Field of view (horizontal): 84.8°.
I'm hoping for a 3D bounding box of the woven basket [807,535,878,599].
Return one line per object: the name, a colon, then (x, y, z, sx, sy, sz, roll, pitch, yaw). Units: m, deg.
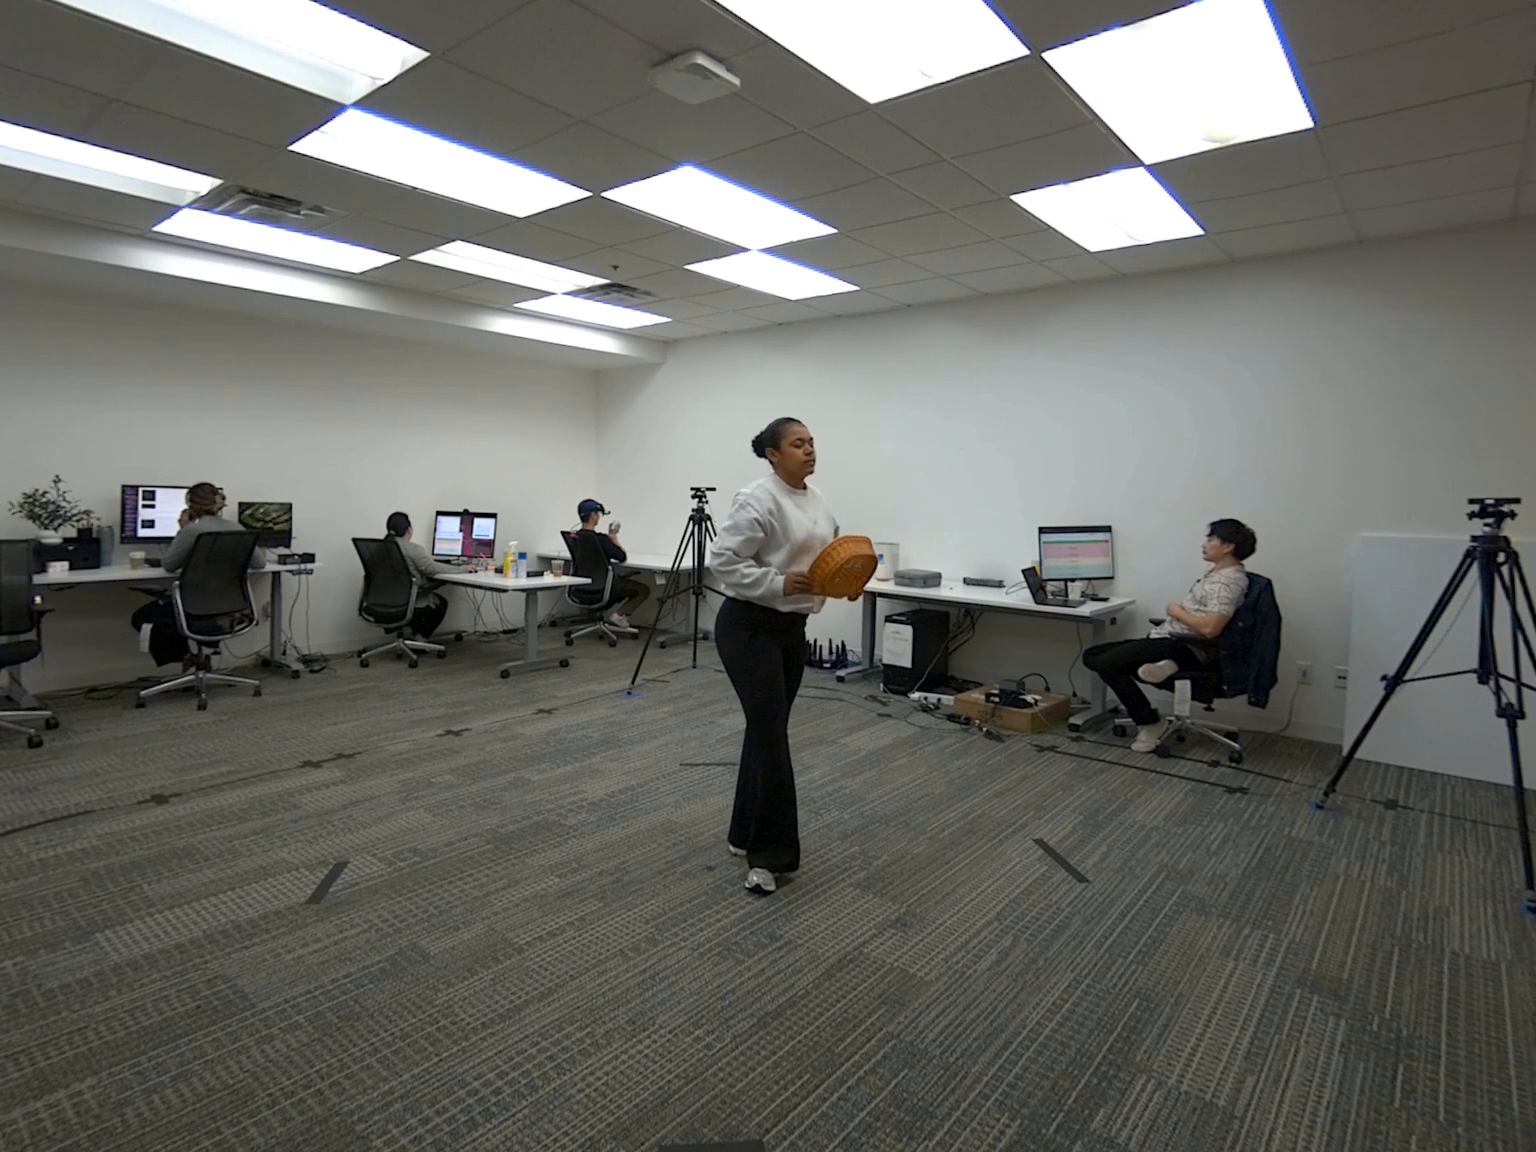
woven basket: (0.244, -0.016, 2.922, 0.076, 0.251, 0.339, 40, 23, 30)
